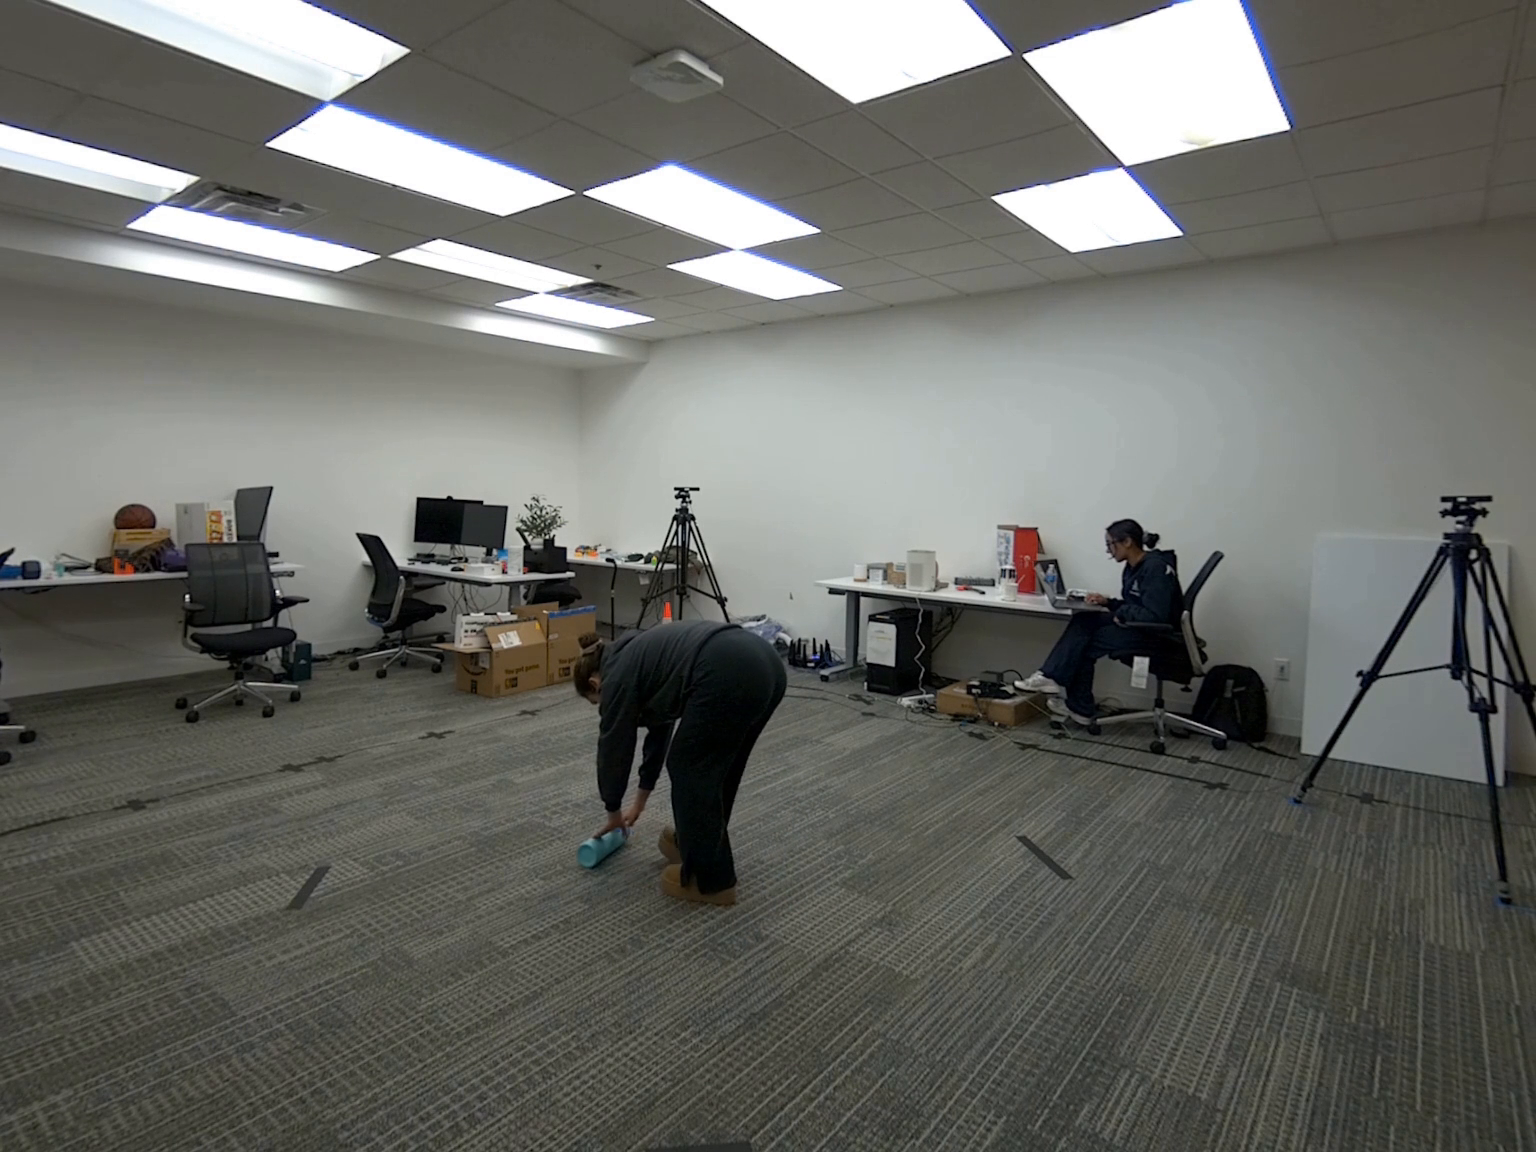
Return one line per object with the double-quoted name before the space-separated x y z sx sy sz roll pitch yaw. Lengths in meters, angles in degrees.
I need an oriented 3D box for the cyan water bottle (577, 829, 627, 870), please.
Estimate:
"cyan water bottle" -0.615 1.003 3.221 0.094 0.092 0.278 2 4 18
